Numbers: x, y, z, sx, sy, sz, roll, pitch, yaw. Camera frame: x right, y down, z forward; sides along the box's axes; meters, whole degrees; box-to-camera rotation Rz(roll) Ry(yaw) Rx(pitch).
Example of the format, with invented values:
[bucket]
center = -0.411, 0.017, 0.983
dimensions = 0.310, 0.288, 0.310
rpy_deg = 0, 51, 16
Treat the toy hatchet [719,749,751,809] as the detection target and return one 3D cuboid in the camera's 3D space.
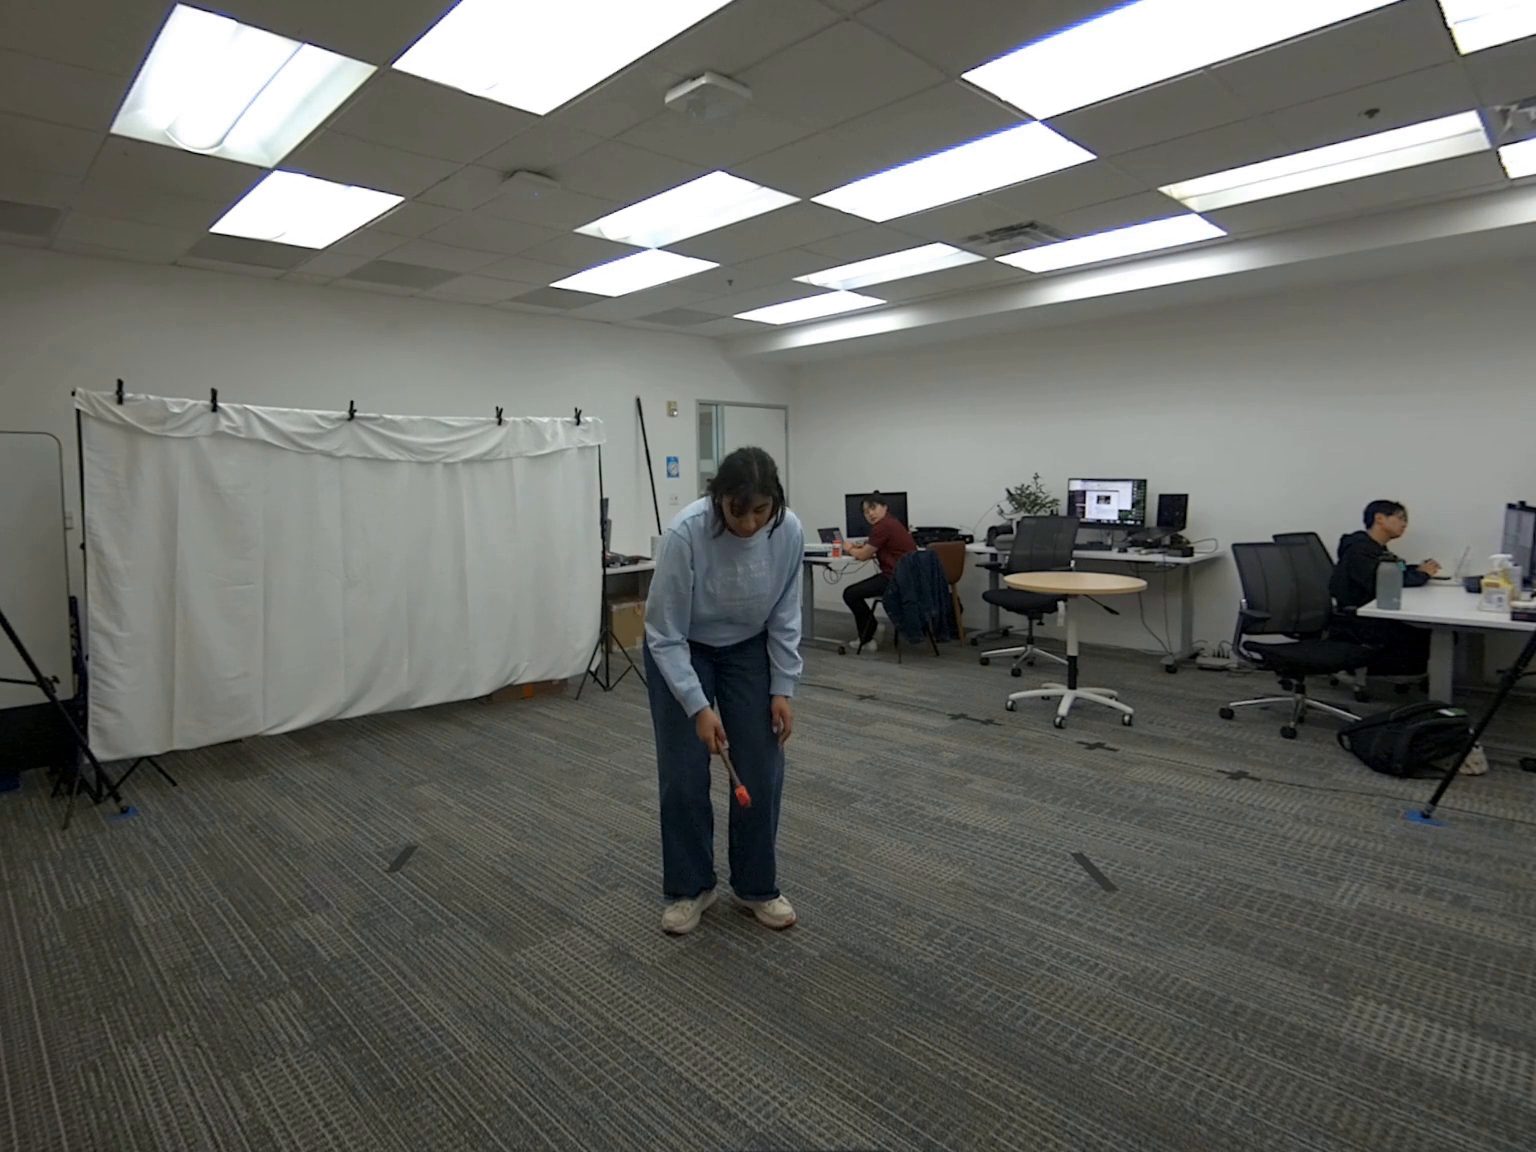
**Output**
[toy hatchet]
center = -0.098, 0.550, 2.437
dimensions = 0.029, 0.126, 0.280
rpy_deg = -26, 42, -3
